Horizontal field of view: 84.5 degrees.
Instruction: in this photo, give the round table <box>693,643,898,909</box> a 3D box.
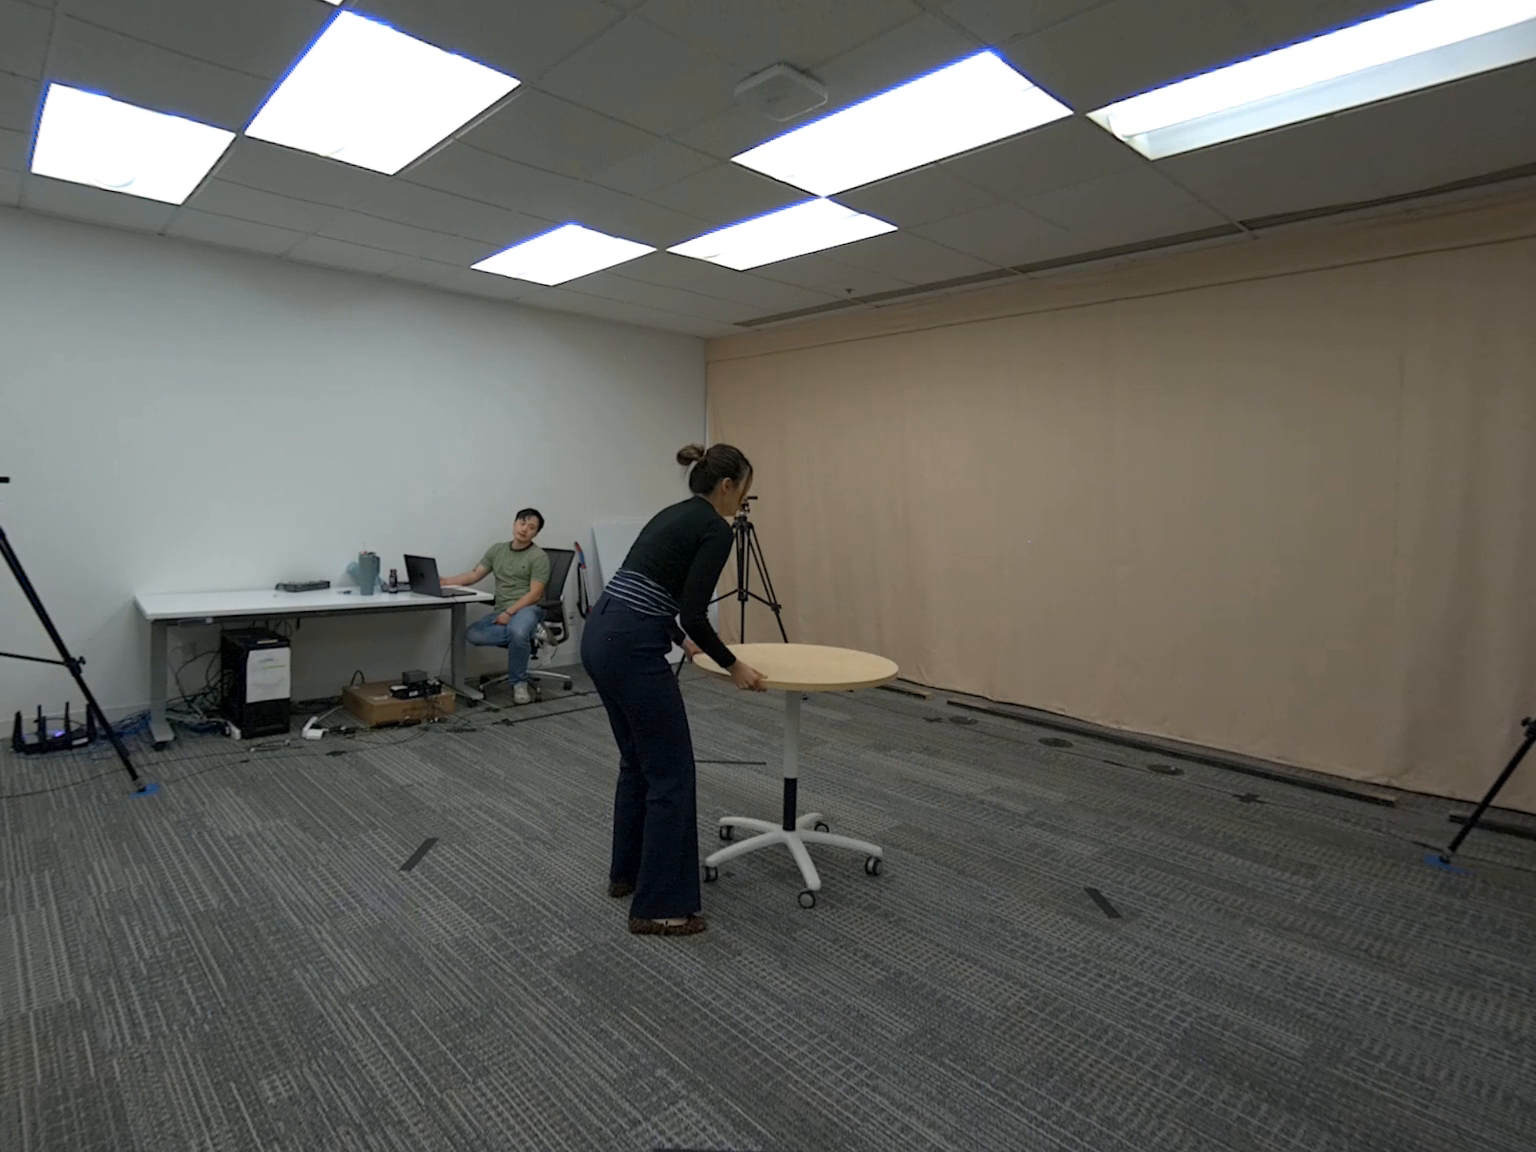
[{"bbox_3d":[0.087,0.712,3.173,0.763,0.792,0.766,1,4,-1],"label":"round table"}]
